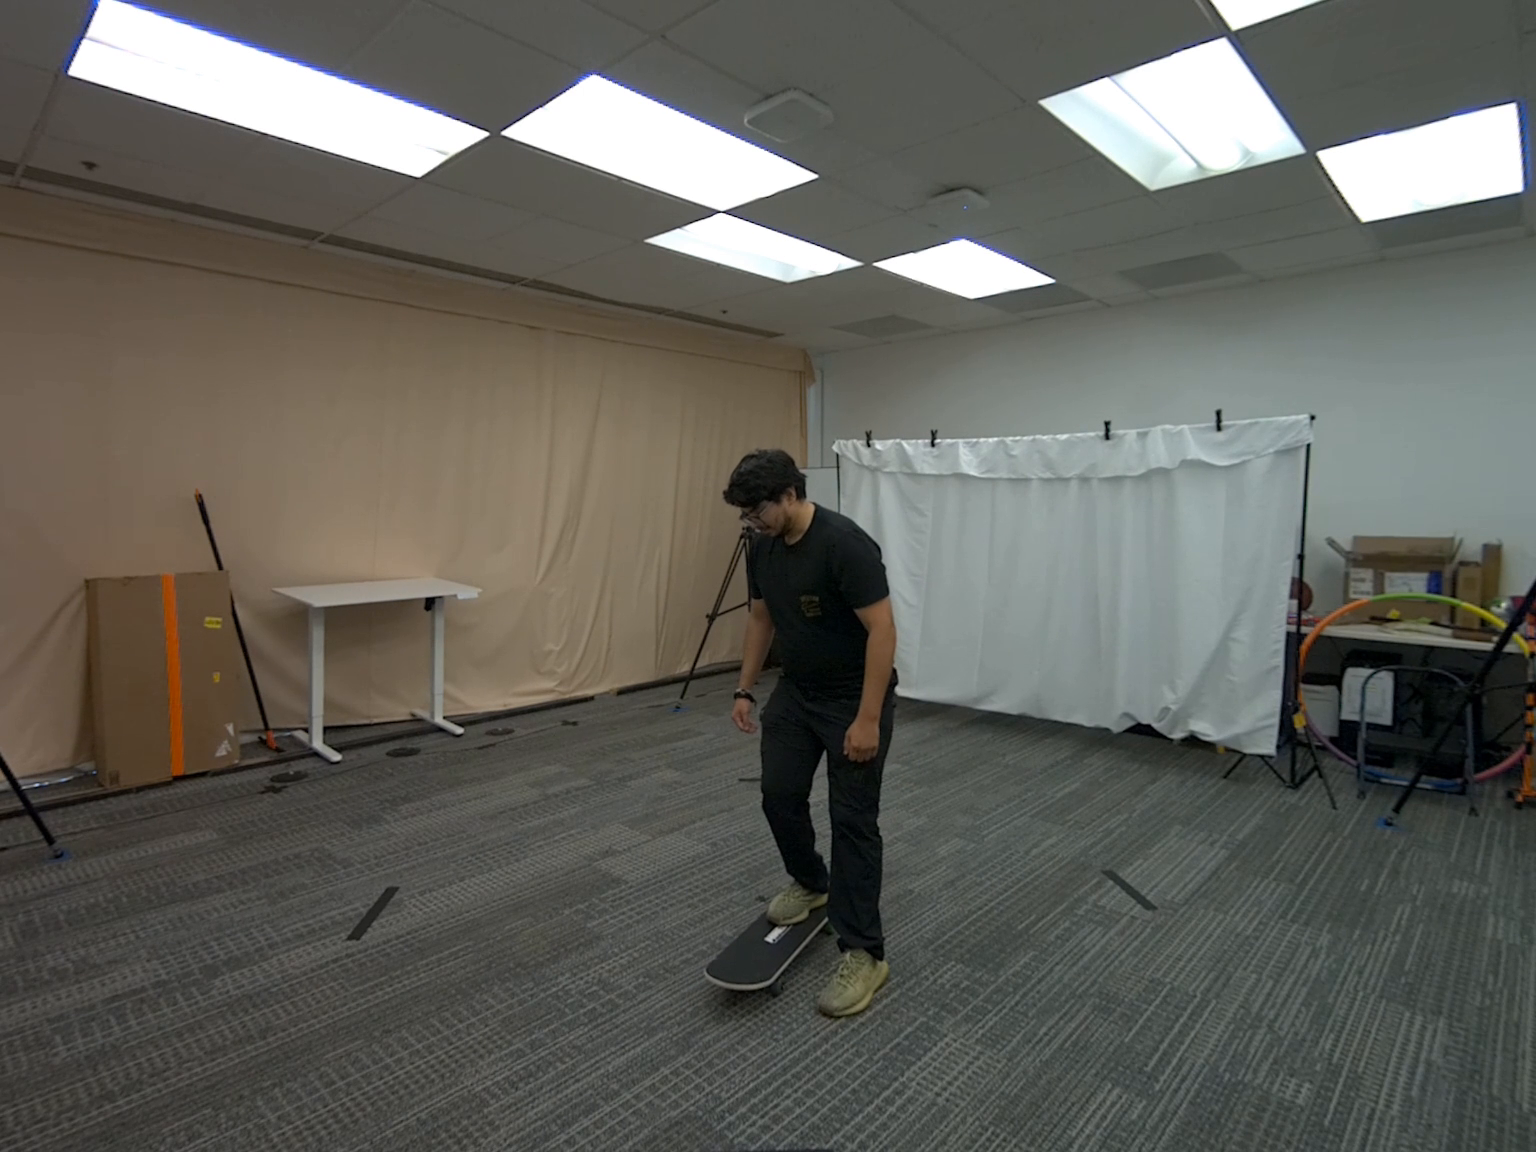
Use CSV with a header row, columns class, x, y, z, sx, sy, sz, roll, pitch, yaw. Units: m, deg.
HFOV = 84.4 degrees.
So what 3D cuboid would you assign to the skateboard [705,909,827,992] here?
class,x,y,z,sx,sy,sz,roll,pitch,yaw
skateboard,0.054,1.123,2.609,0.199,0.110,0.766,1,4,27
